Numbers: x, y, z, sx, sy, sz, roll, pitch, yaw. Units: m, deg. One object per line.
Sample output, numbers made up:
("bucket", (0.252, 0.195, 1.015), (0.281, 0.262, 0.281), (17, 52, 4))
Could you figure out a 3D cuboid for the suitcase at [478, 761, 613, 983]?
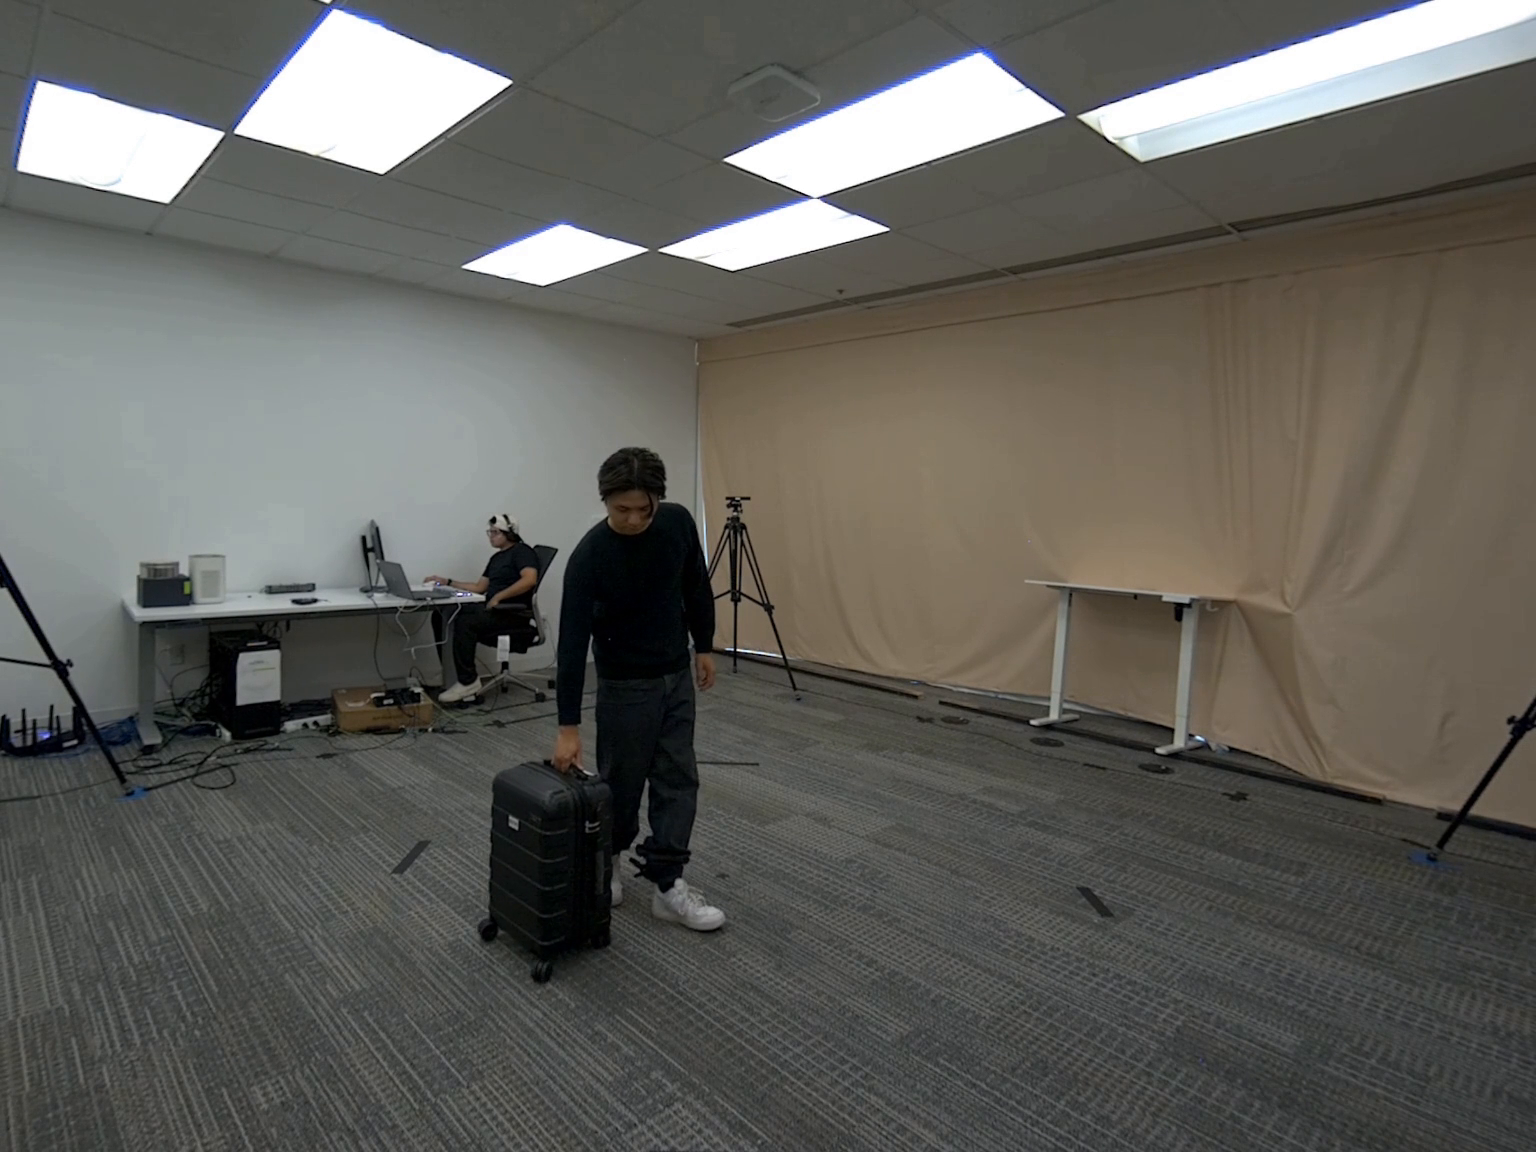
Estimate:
("suitcase", (-0.678, 0.870, 2.580), (0.385, 0.548, 0.242), (7, 5, 43))
